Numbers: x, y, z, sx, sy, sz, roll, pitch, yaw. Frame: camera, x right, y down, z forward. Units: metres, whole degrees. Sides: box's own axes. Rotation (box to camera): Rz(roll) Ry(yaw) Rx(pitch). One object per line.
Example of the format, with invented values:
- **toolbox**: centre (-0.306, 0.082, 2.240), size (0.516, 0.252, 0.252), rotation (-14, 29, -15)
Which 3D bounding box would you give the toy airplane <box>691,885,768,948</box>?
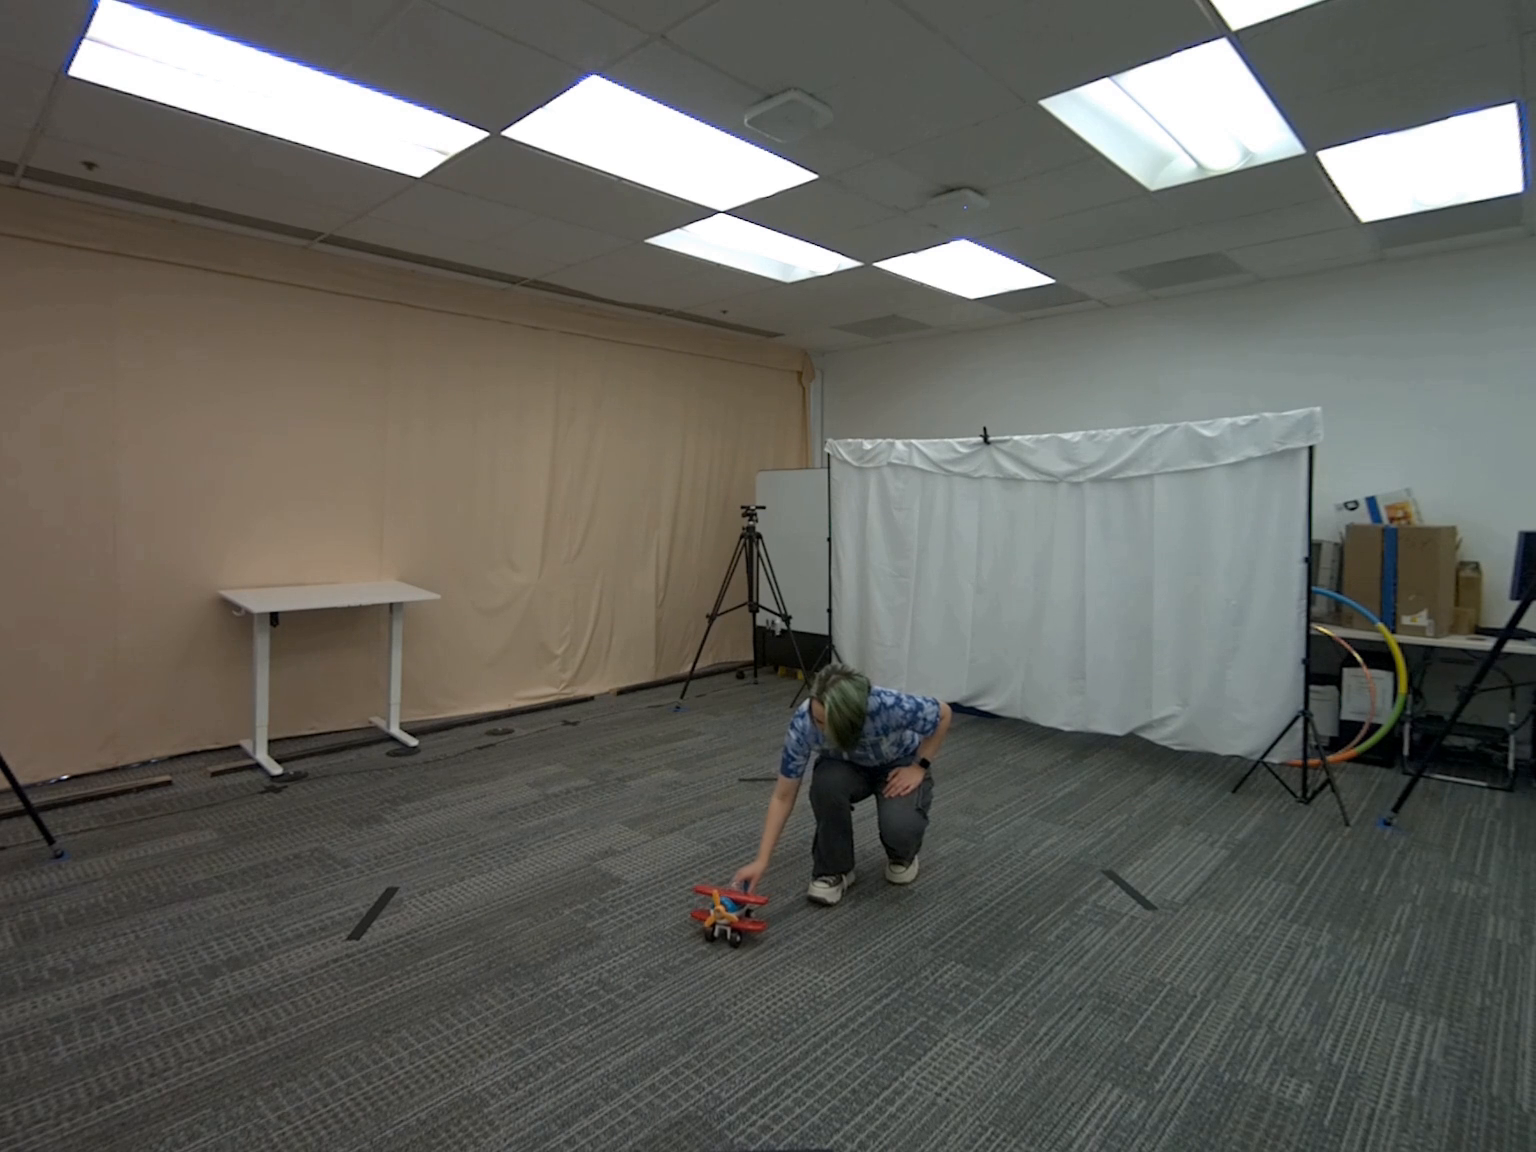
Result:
- **toy airplane**: centre (-0.127, 1.088, 2.758), size (0.249, 0.156, 0.262), rotation (-1, 5, -7)
